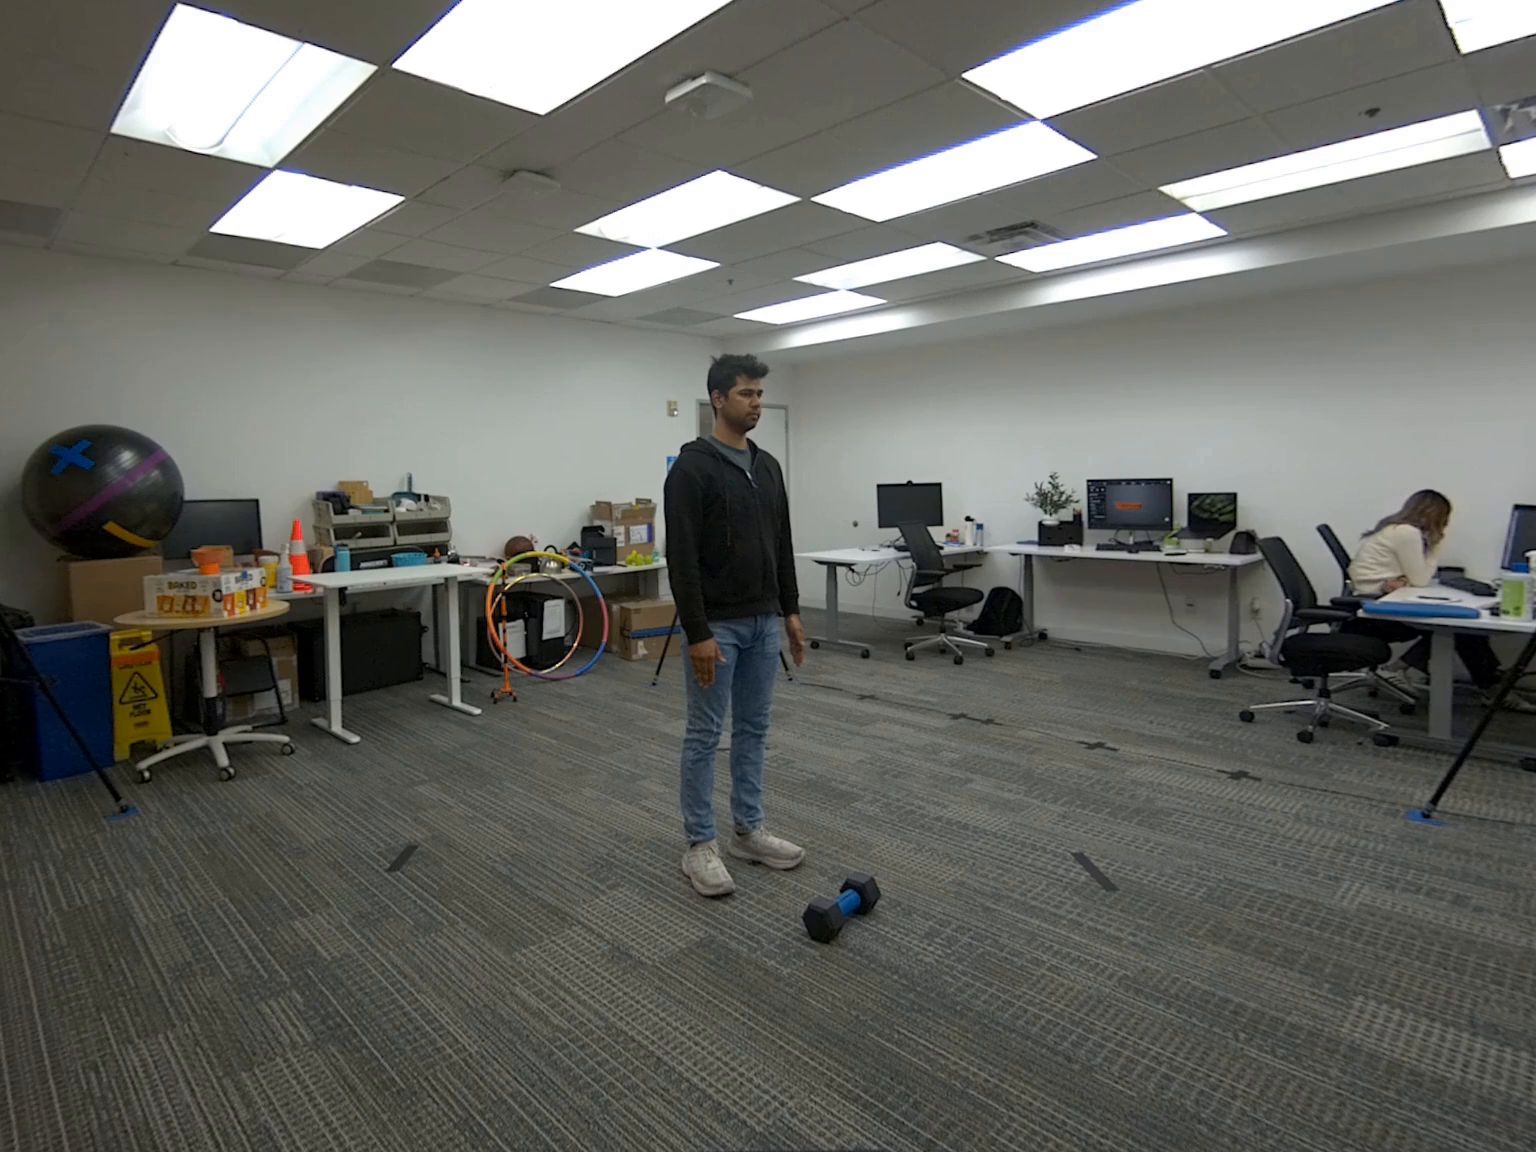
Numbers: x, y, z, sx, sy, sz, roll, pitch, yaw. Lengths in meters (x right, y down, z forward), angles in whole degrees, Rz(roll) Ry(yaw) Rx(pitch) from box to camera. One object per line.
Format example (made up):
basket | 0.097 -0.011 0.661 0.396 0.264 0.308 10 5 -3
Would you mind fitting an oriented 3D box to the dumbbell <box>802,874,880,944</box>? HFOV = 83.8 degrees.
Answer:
dumbbell | 0.239 1.035 2.677 0.126 0.108 0.286 1 6 38
